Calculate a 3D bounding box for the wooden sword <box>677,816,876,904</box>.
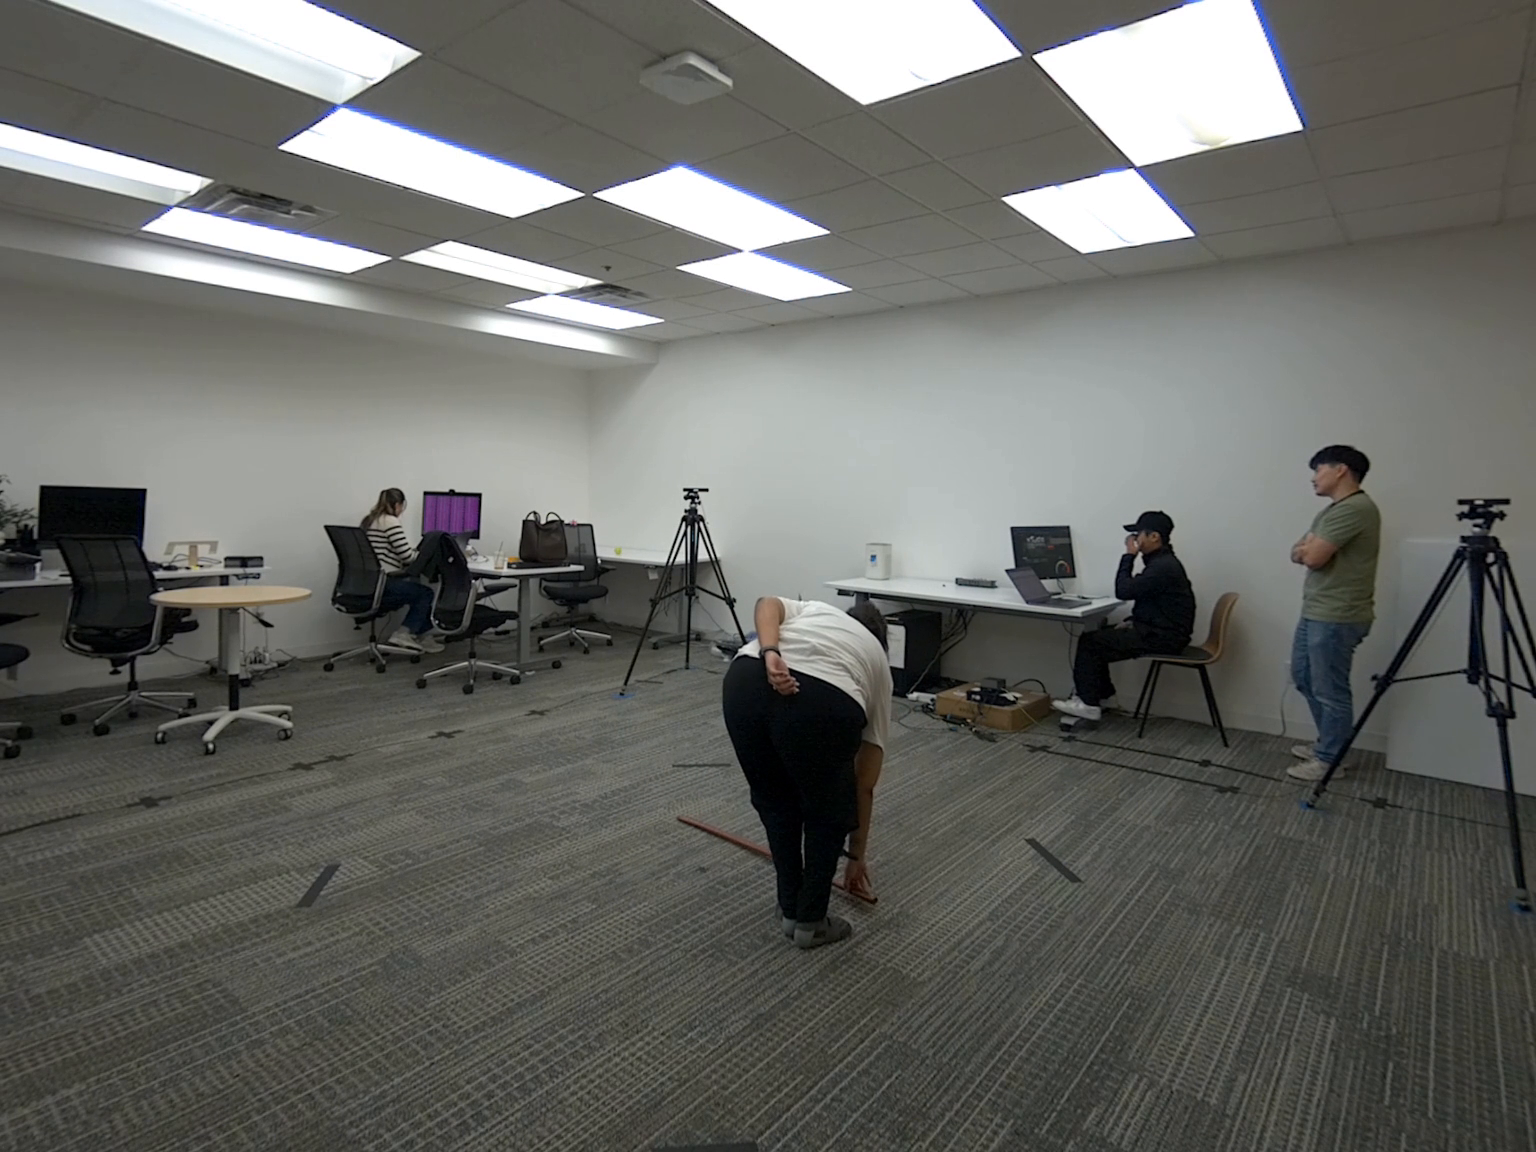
[{"bbox_3d":[-0.019,1.035,3.199,0.050,0.024,1.059,-7,8,-44],"label":"wooden sword"}]
